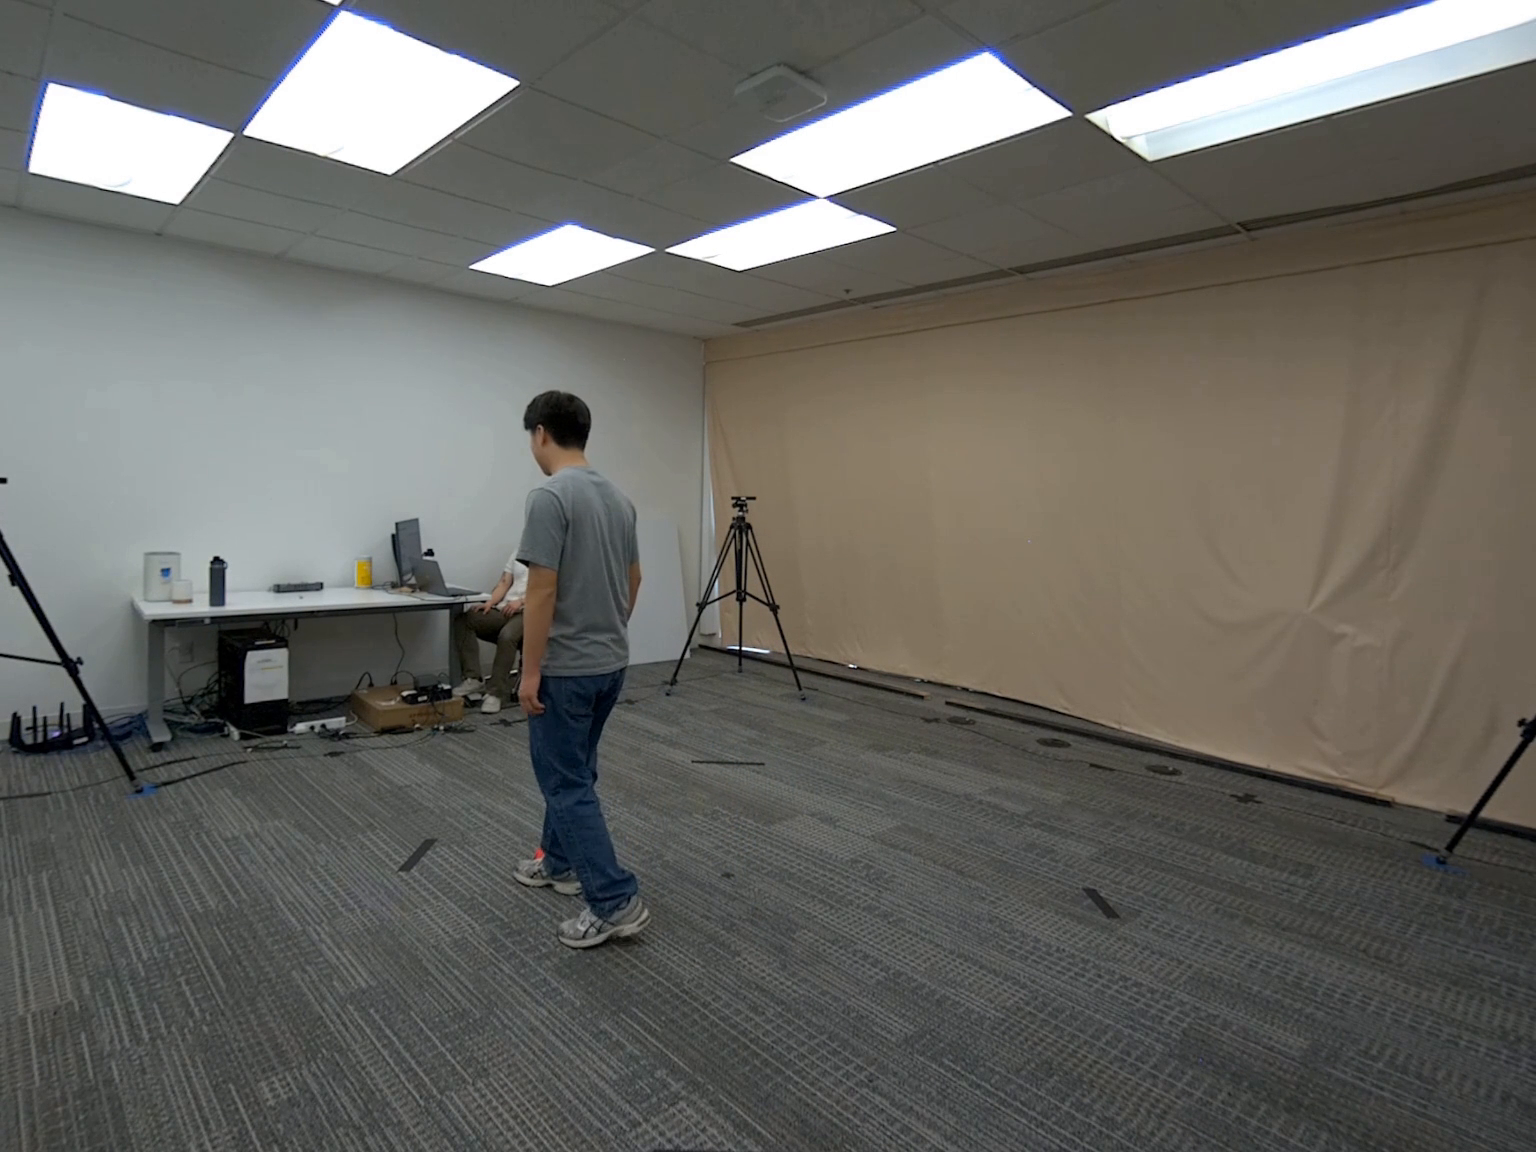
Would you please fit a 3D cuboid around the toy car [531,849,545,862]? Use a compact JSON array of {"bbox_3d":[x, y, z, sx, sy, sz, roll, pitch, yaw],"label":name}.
[{"bbox_3d":[-0.830,1.055,3.208,0.130,0.083,0.253,1,-6,-2],"label":"toy car"}]
